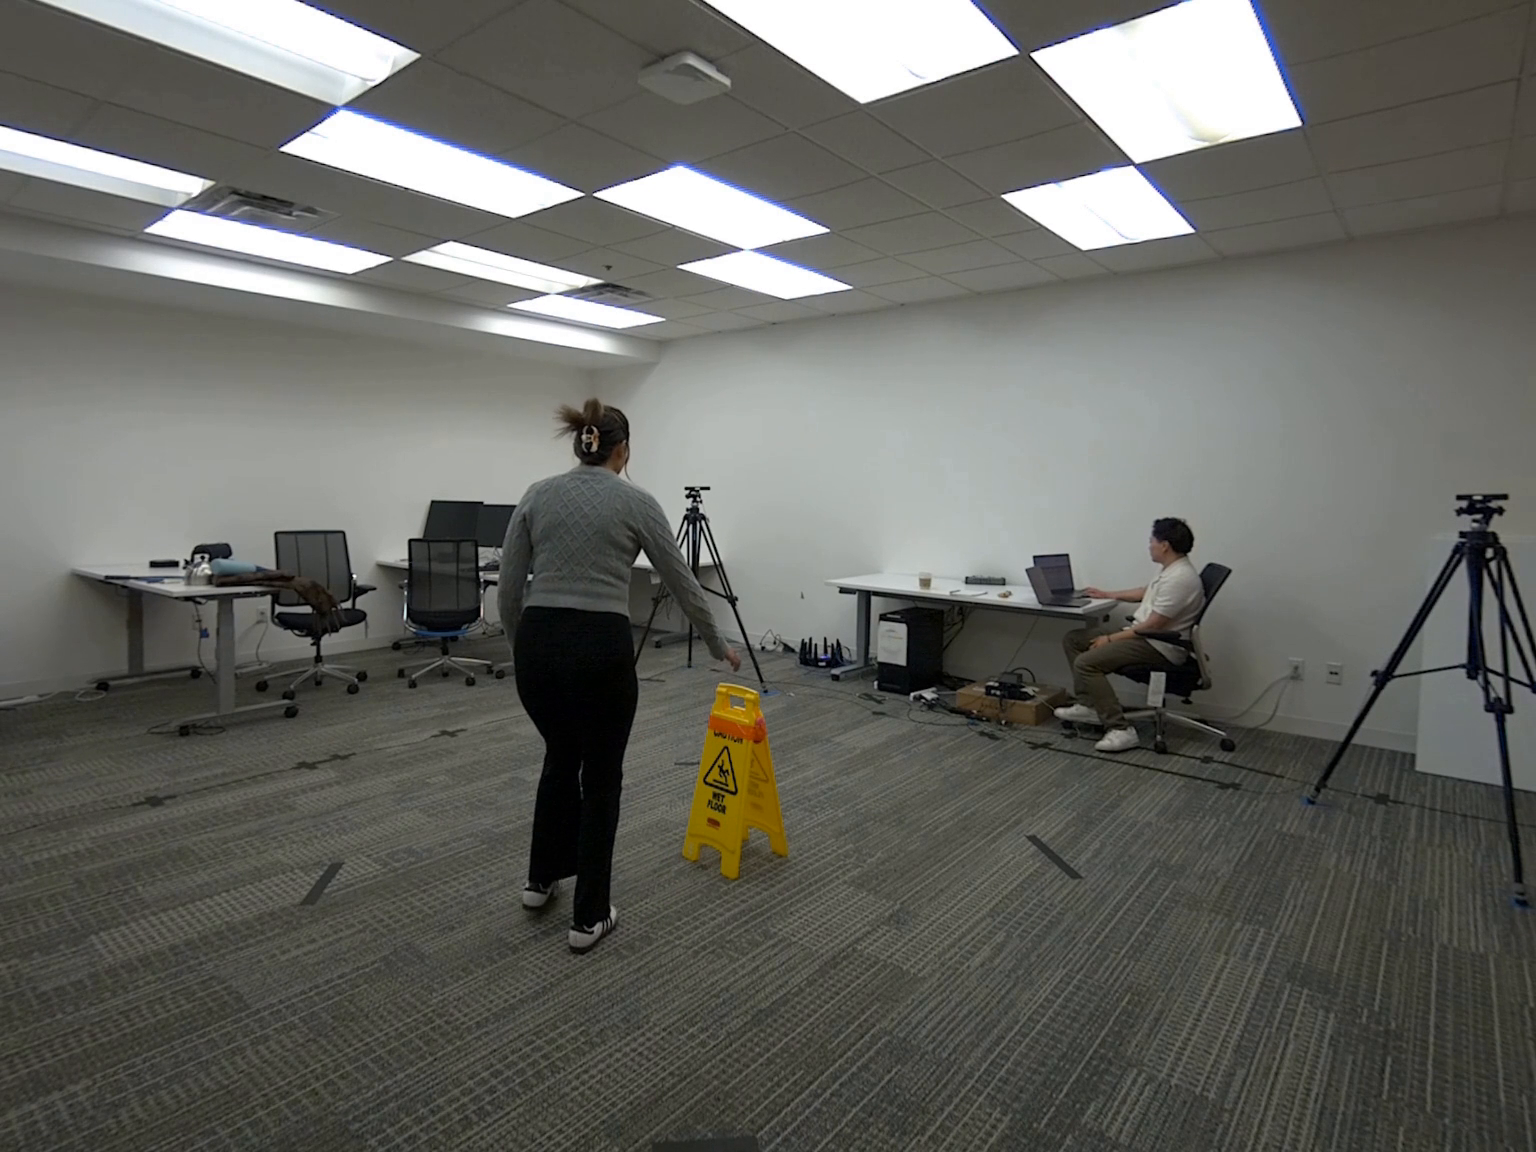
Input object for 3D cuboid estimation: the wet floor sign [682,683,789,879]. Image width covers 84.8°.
[{"bbox_3d":[-0.127,0.734,3.201,0.292,0.644,0.281,4,4,43],"label":"wet floor sign"}]
